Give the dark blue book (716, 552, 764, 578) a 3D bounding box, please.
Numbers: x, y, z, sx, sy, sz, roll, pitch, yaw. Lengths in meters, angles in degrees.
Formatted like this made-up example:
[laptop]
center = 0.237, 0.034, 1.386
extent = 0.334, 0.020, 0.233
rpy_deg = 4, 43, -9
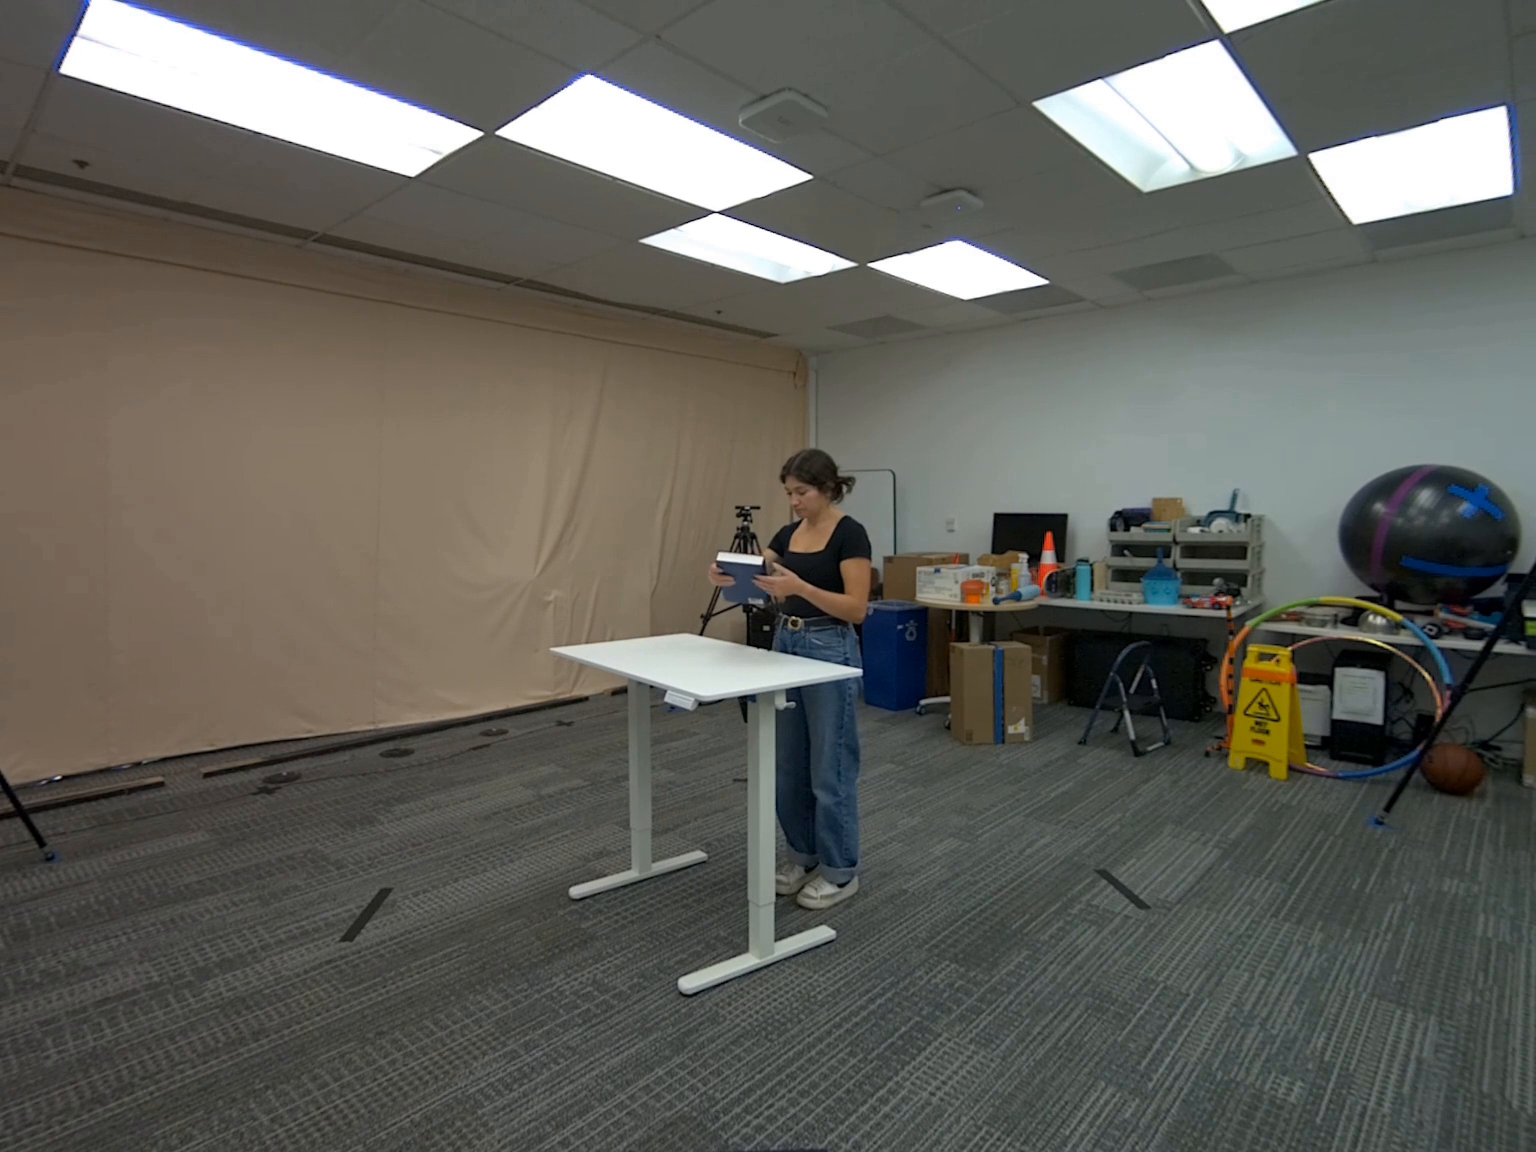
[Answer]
[dark blue book]
center = -0.081, 0.013, 2.892
extent = 0.165, 0.045, 0.240
rpy_deg = 10, -36, 8
